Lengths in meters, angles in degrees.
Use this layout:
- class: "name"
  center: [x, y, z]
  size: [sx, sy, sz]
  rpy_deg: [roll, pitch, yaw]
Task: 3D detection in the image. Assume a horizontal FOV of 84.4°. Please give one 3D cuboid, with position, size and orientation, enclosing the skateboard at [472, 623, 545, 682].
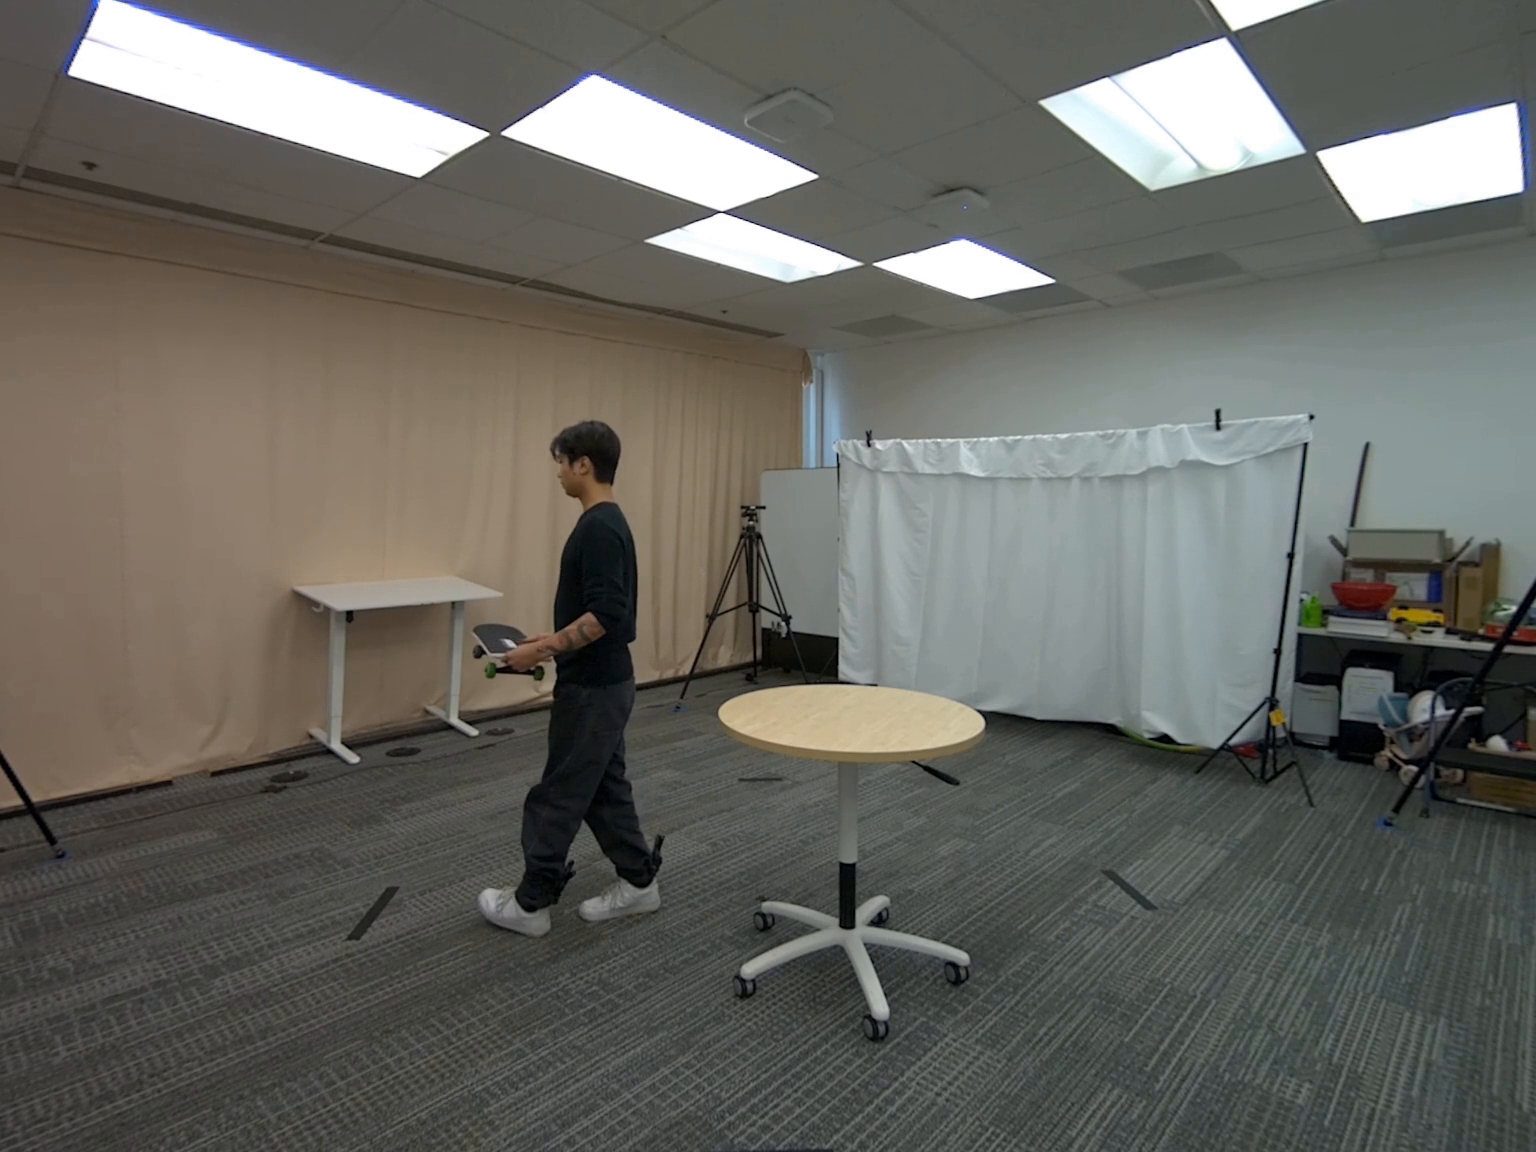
- class: "skateboard"
  center: [-0.900, 0.272, 2.892]
  size: [0.189, 0.110, 0.805]
  rpy_deg: [7, 0, -25]
